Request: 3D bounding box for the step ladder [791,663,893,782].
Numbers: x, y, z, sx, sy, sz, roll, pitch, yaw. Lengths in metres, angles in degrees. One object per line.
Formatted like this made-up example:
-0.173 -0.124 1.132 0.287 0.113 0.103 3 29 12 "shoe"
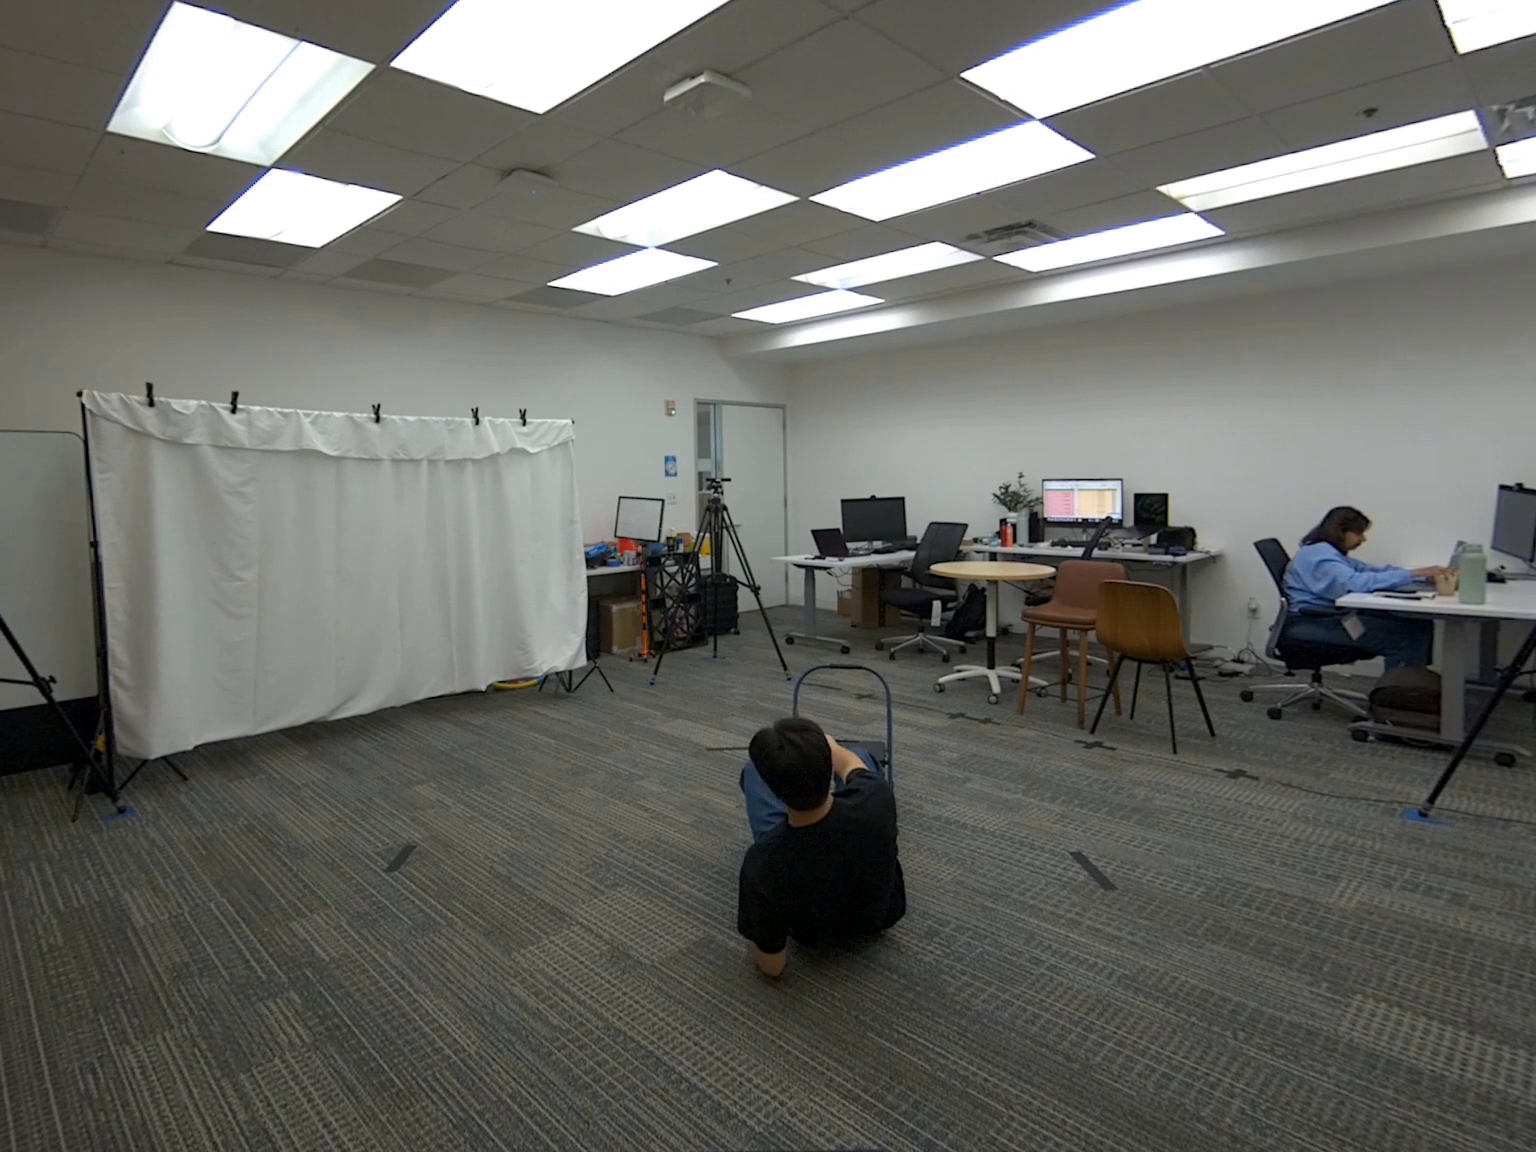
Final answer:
0.315 0.685 3.558 0.435 0.603 0.348 0 6 9 "step ladder"
